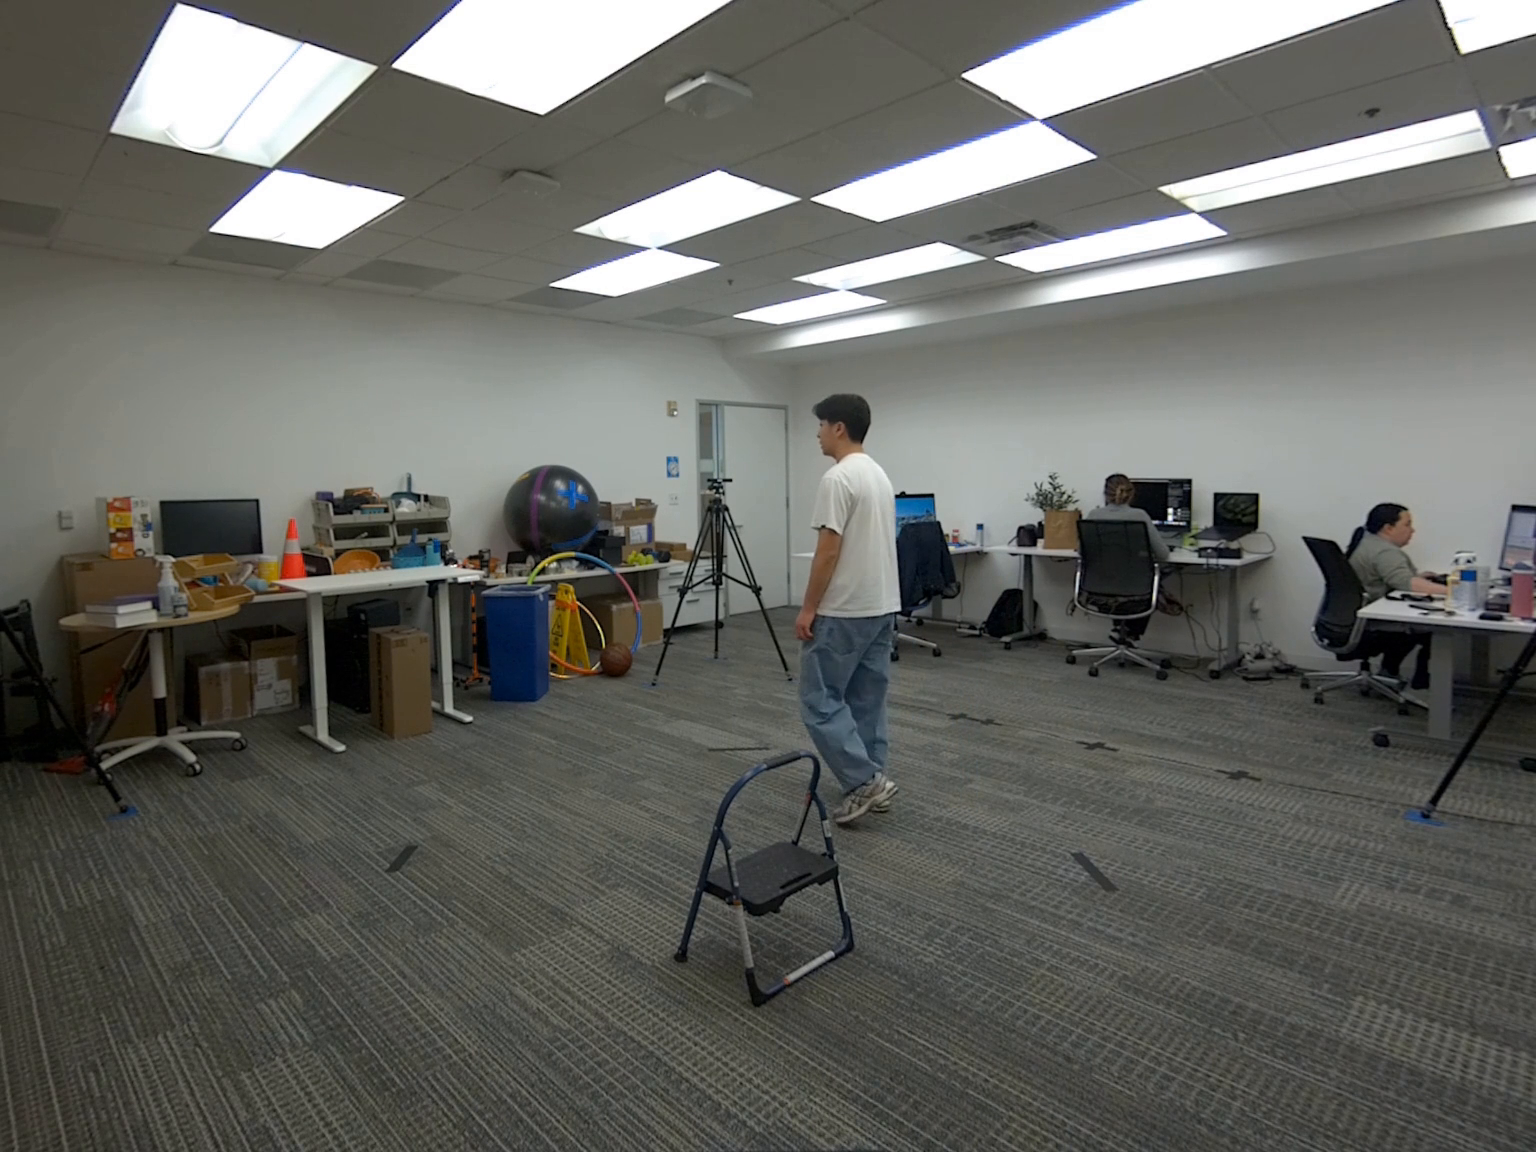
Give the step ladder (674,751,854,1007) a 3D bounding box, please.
[{"bbox_3d":[-0.010,0.809,2.503,0.360,0.604,0.419,3,6,45],"label":"step ladder"}]
